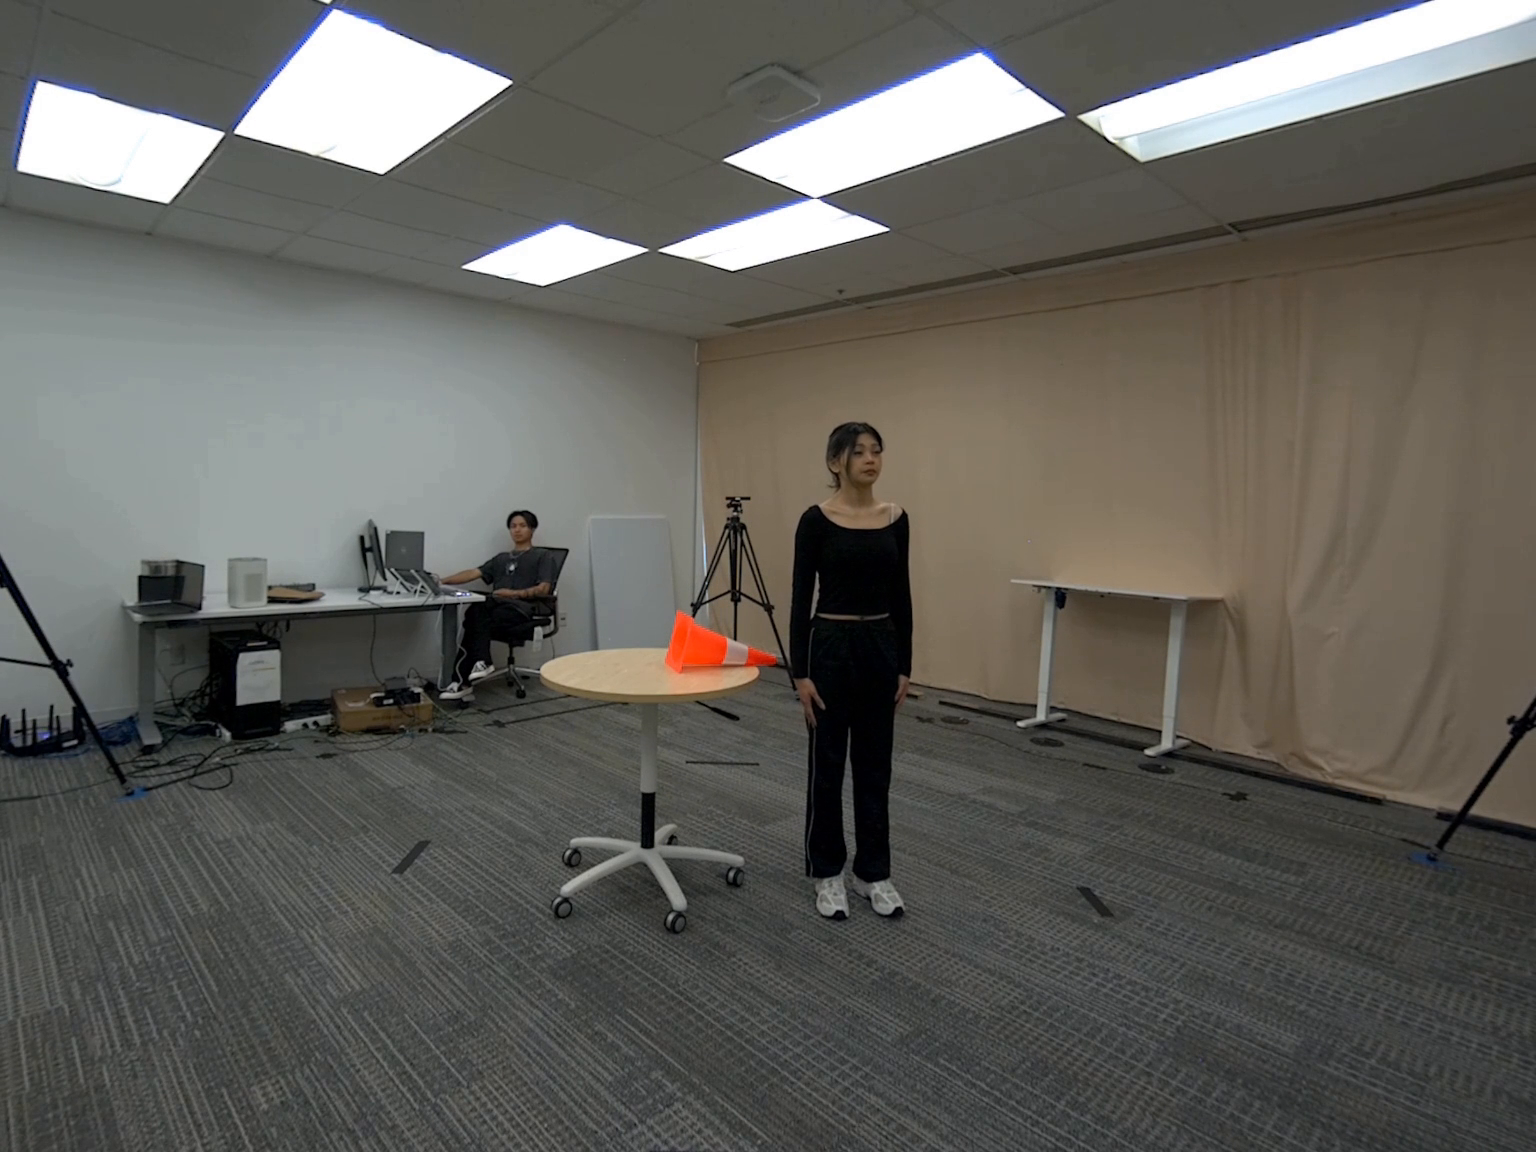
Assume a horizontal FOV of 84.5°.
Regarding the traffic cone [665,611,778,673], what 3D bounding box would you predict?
[{"bbox_3d":[-0.149,0.274,3.050,0.378,0.203,0.208,12,4,-17],"label":"traffic cone"}]
